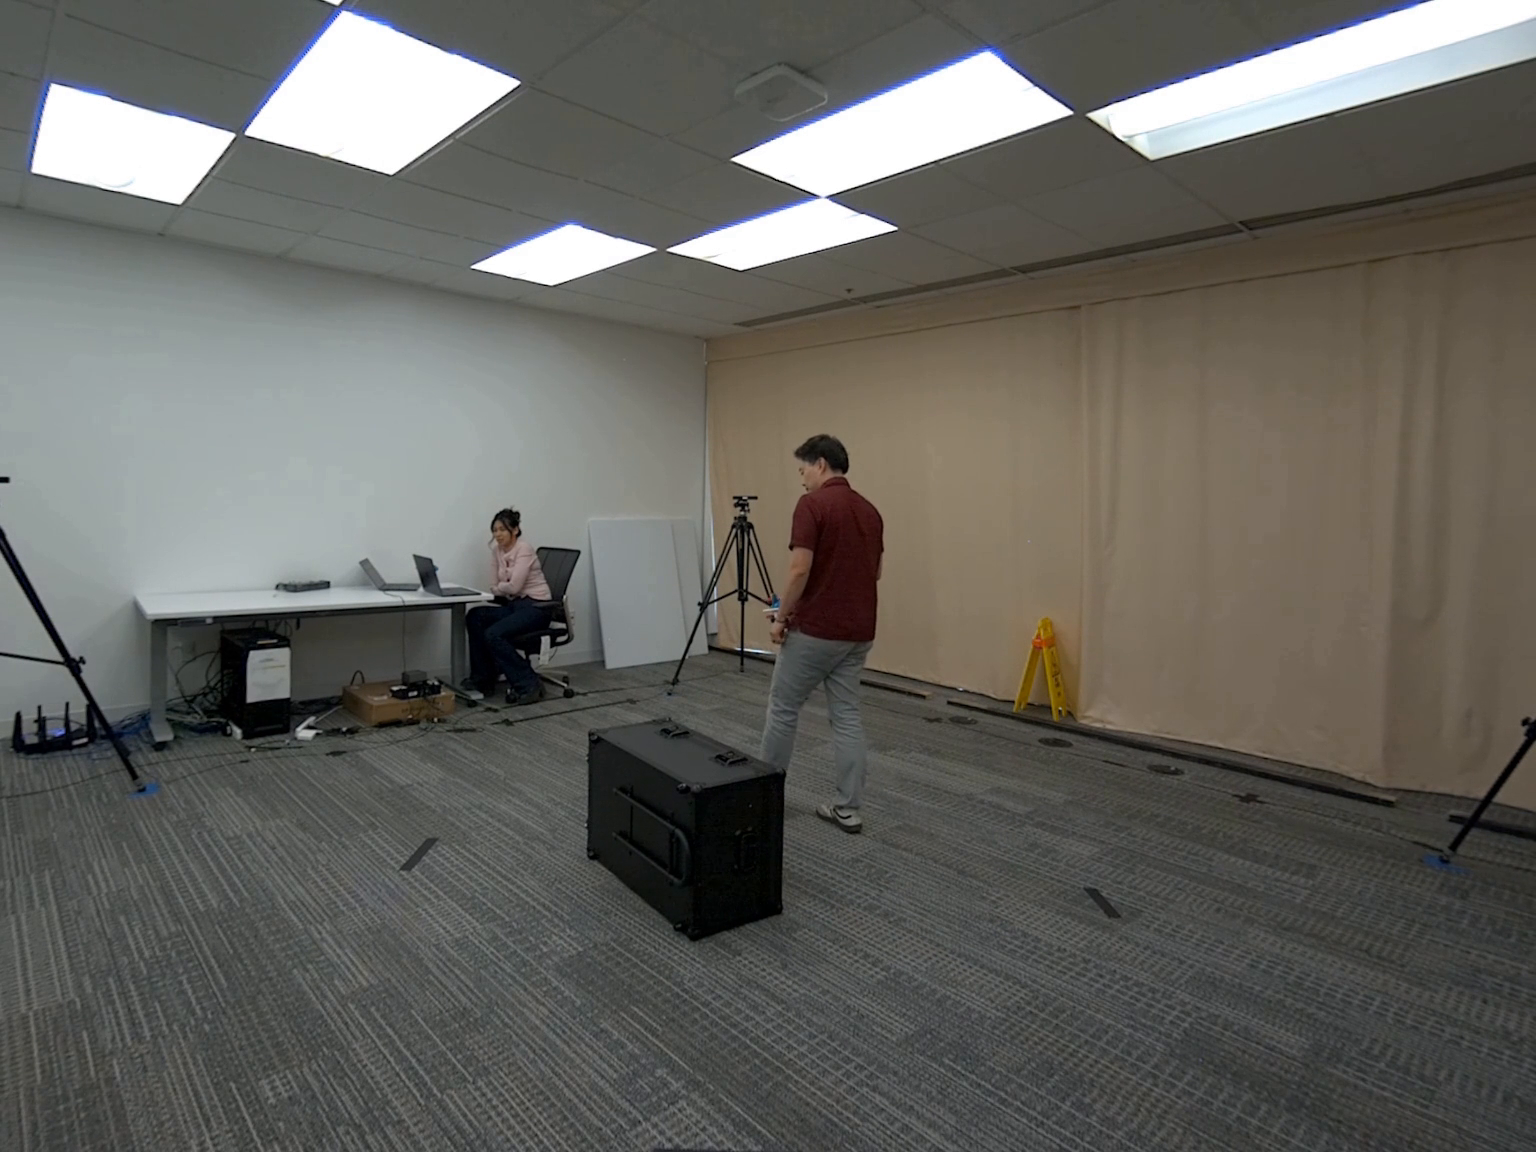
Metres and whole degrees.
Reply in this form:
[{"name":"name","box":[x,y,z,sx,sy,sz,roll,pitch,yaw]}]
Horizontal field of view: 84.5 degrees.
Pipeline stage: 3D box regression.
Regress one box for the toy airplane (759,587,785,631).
[{"name":"toy airplane","box":[0.092,0.151,3.881,0.252,0.158,0.255,0,-13,4]}]
